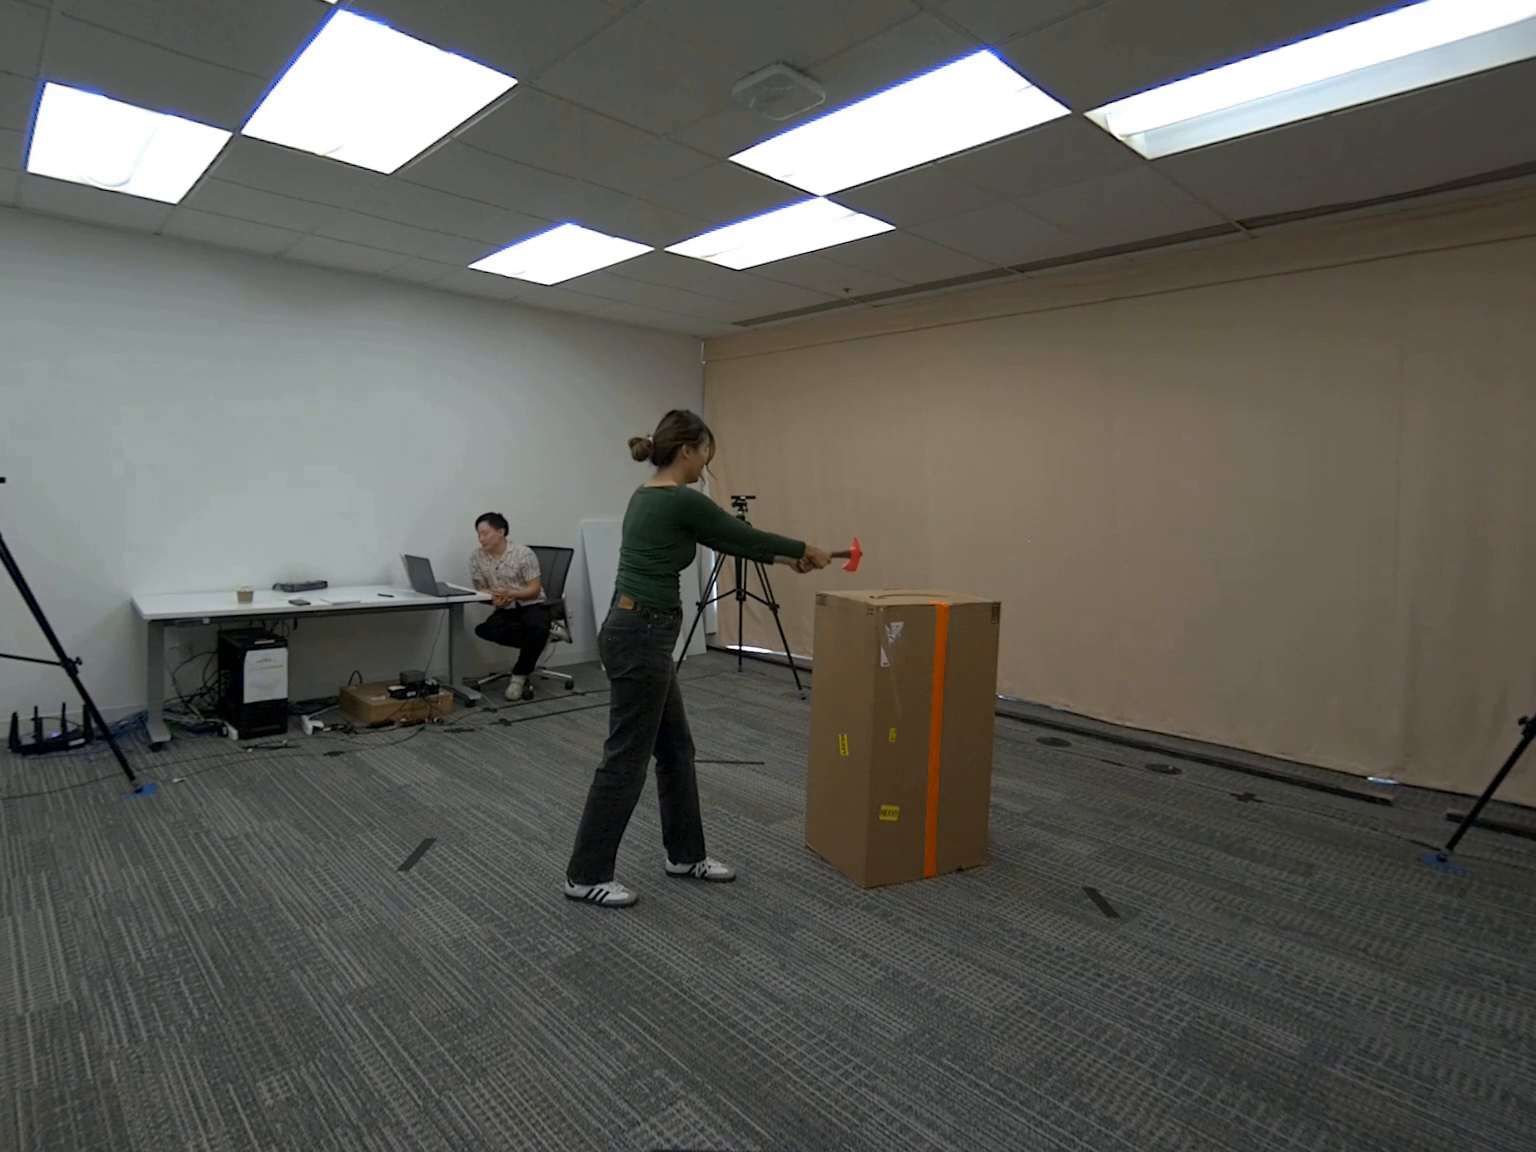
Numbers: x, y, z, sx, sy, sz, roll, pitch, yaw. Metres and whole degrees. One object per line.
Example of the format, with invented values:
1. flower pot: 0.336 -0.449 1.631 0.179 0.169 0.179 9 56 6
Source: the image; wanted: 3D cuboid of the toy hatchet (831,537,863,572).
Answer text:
1. toy hatchet: 0.236 -0.054 3.166 0.268 0.129 0.030 -24 18 -20
